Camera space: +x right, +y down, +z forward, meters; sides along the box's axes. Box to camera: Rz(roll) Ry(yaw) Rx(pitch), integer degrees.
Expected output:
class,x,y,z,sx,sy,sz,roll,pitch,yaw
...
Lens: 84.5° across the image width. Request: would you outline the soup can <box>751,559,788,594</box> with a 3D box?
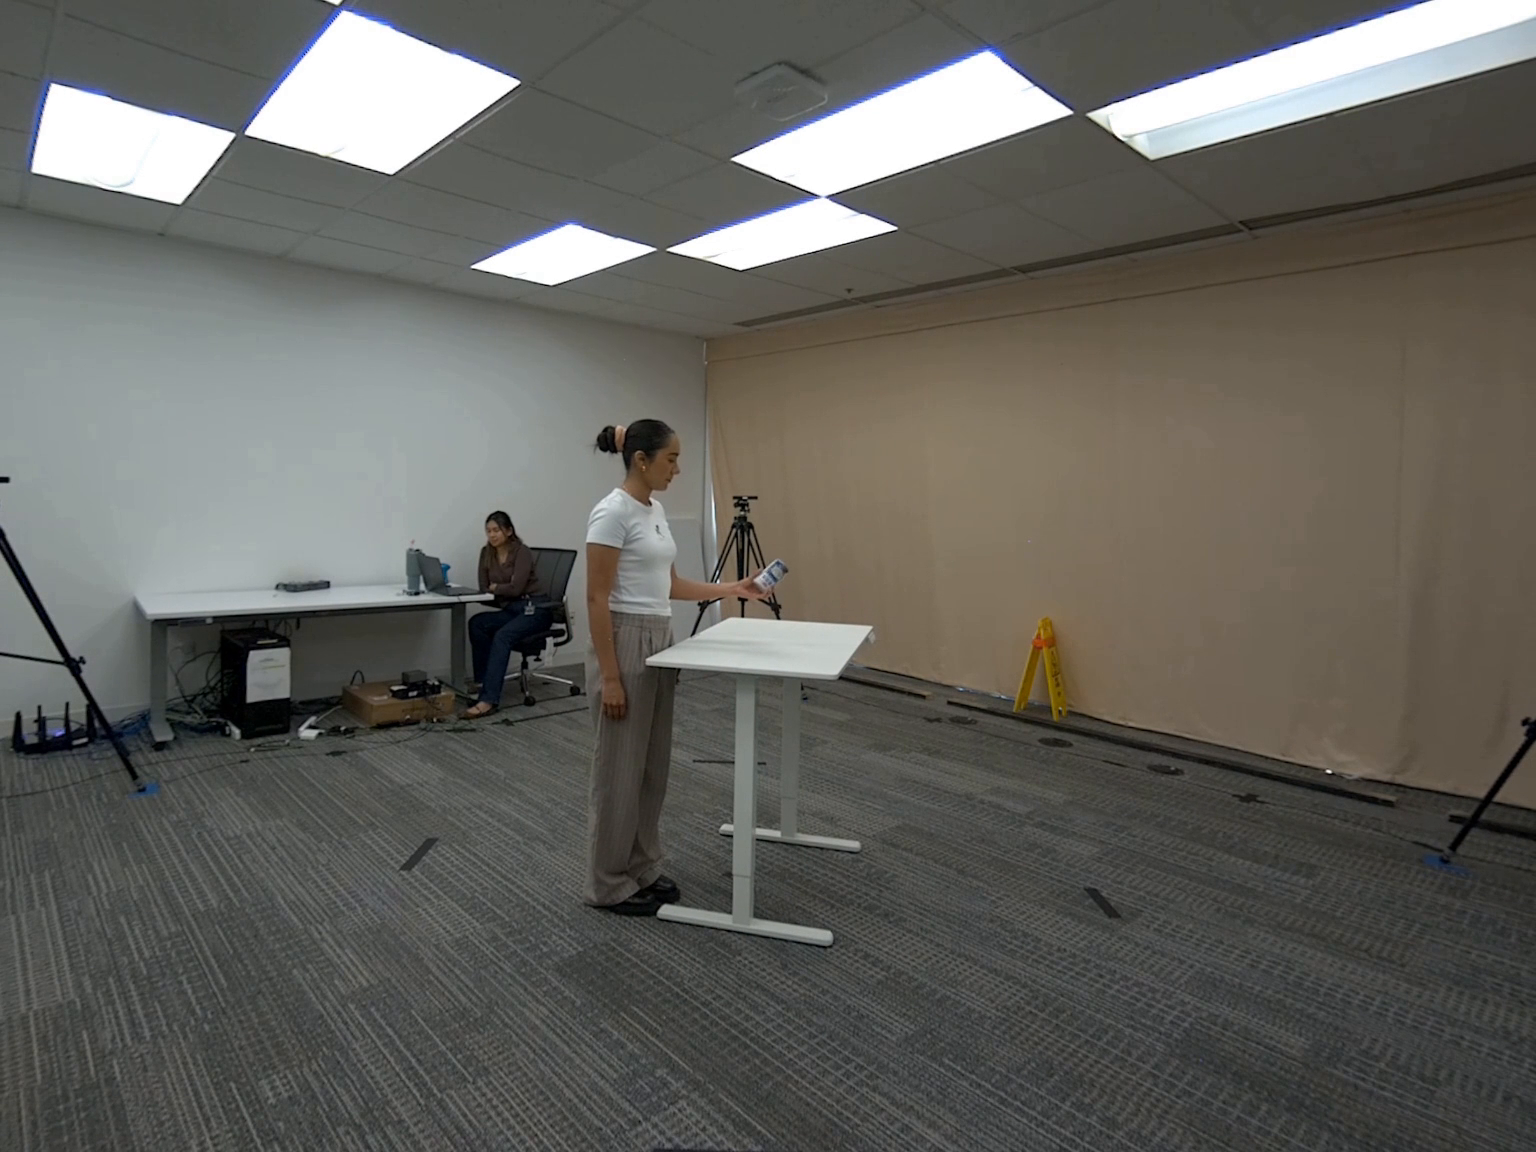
class,x,y,z,sx,sy,sz,roll,pitch,yaw
soup can,0.006,-0.002,2.967,0.121,0.066,0.068,-42,15,-10
